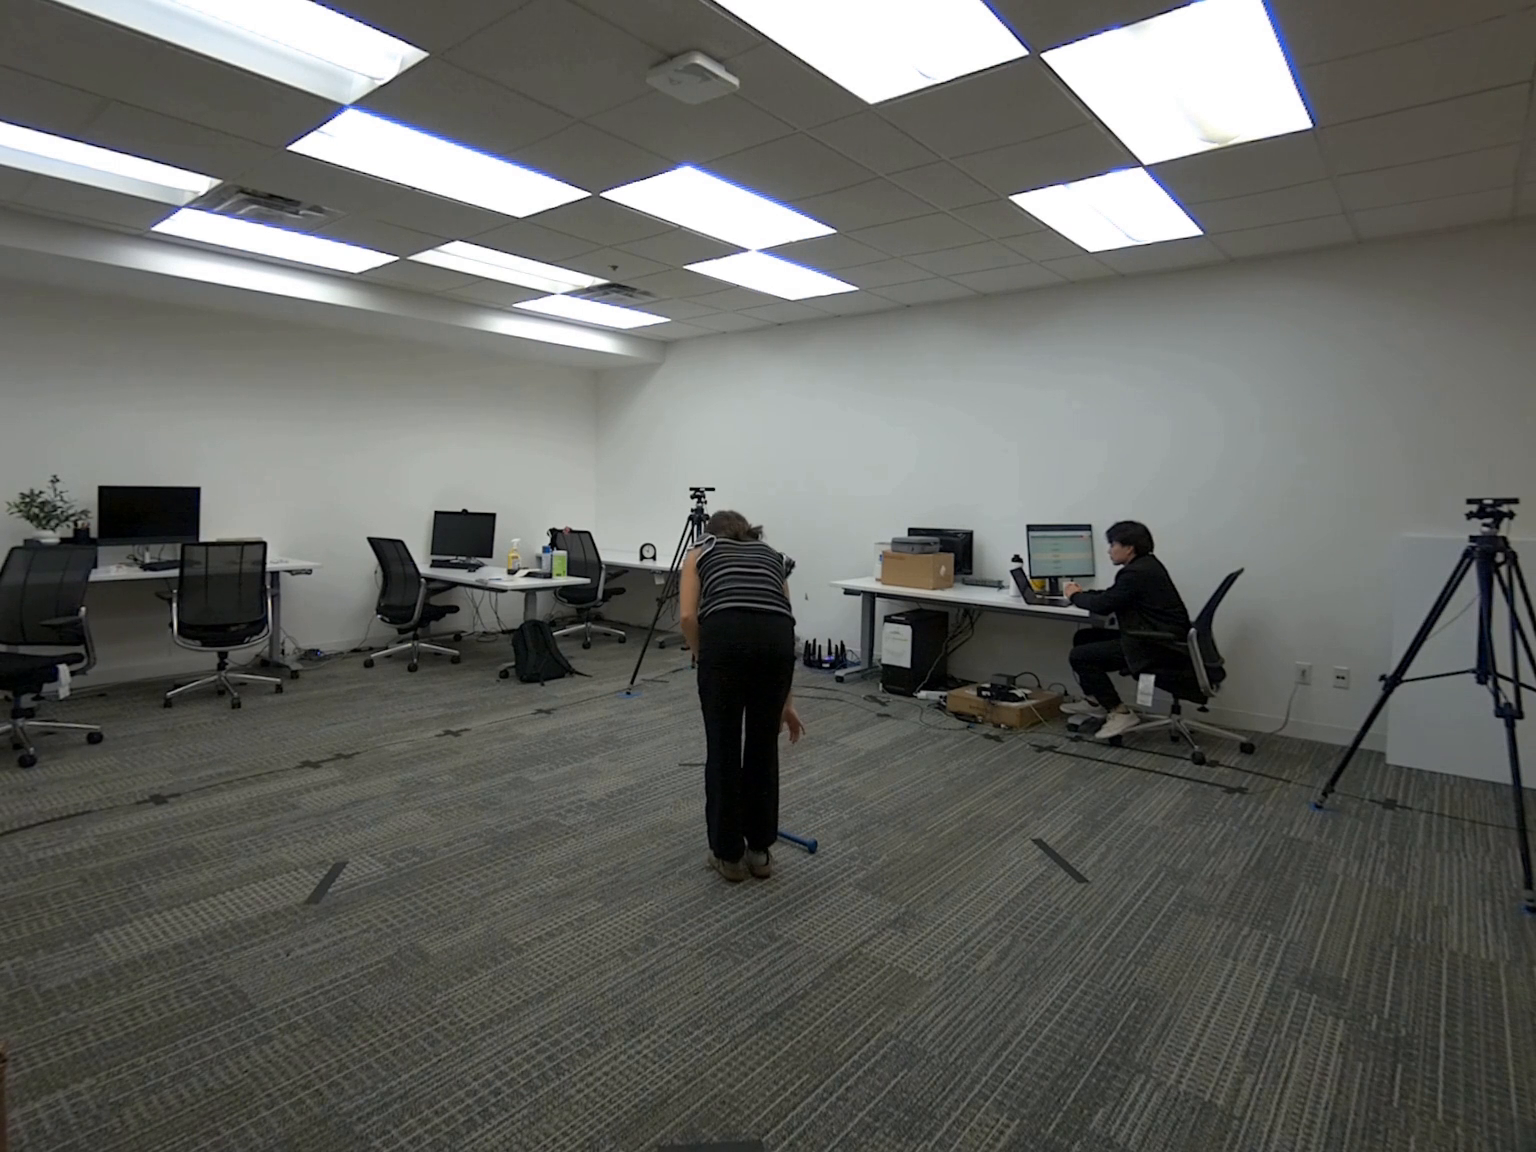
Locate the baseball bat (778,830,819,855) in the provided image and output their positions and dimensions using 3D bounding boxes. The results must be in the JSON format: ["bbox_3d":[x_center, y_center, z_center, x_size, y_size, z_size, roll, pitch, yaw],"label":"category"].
[{"bbox_3d":[-0.034,1.001,3.438,0.562,0.088,0.086,10,9,40],"label":"baseball bat"}]
